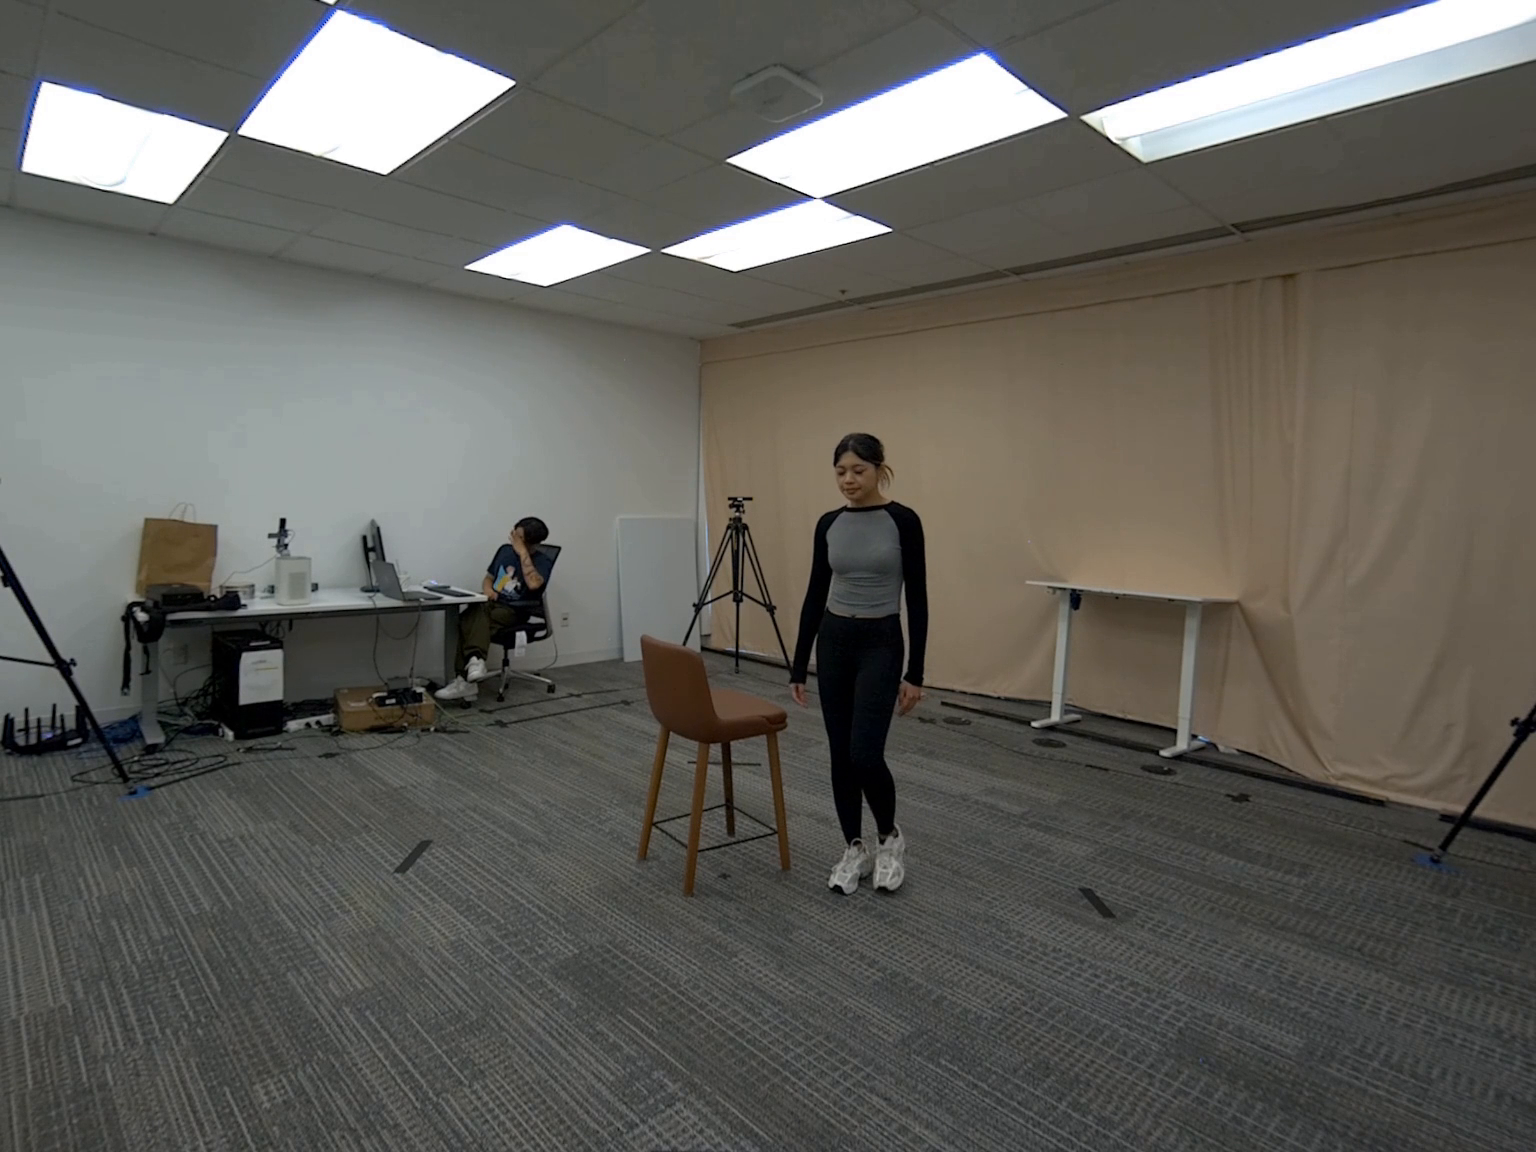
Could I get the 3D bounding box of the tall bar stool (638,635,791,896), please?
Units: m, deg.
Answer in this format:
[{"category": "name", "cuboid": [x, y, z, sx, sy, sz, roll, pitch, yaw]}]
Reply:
[{"category": "tall bar stool", "cuboid": [-0.214, 0.661, 3.187, 0.458, 0.887, 0.467, -4, 5, -35]}]
